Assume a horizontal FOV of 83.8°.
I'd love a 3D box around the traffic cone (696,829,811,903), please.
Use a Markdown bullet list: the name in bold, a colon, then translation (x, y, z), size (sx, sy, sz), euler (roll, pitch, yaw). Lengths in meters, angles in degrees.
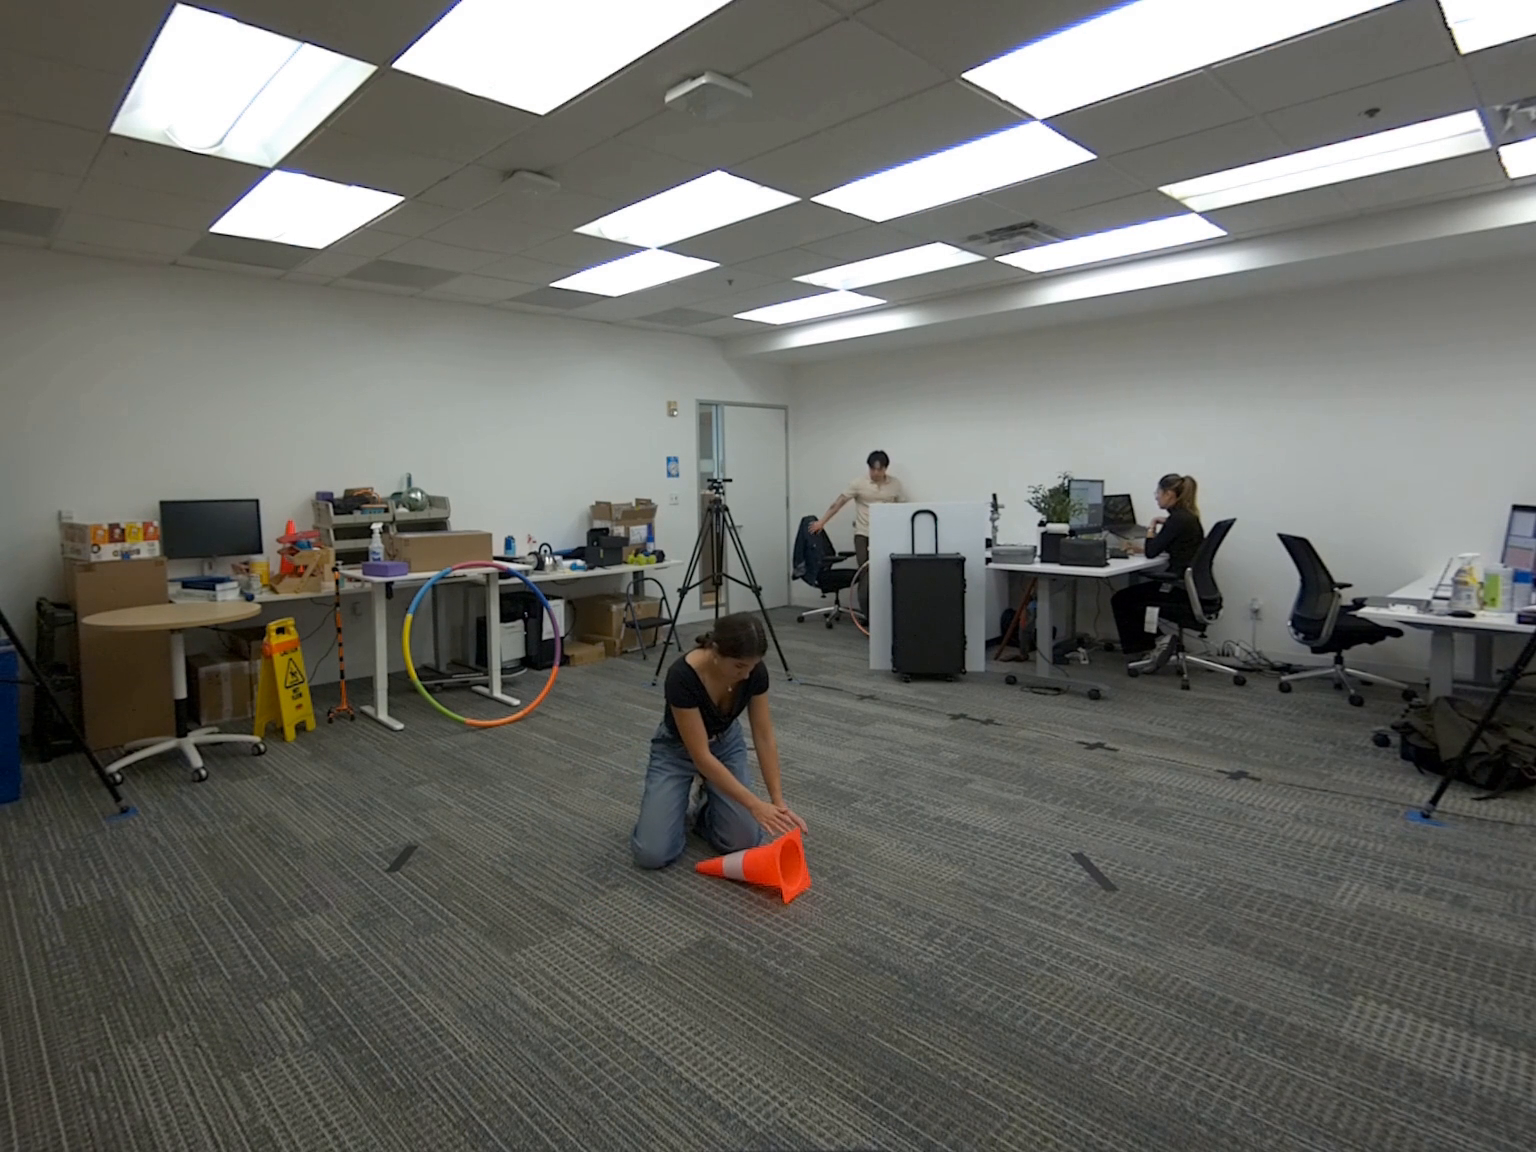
- **traffic cone**: translation (-0.085, 1.003, 2.955), size (0.391, 0.206, 0.198), euler (-11, -4, 27)
